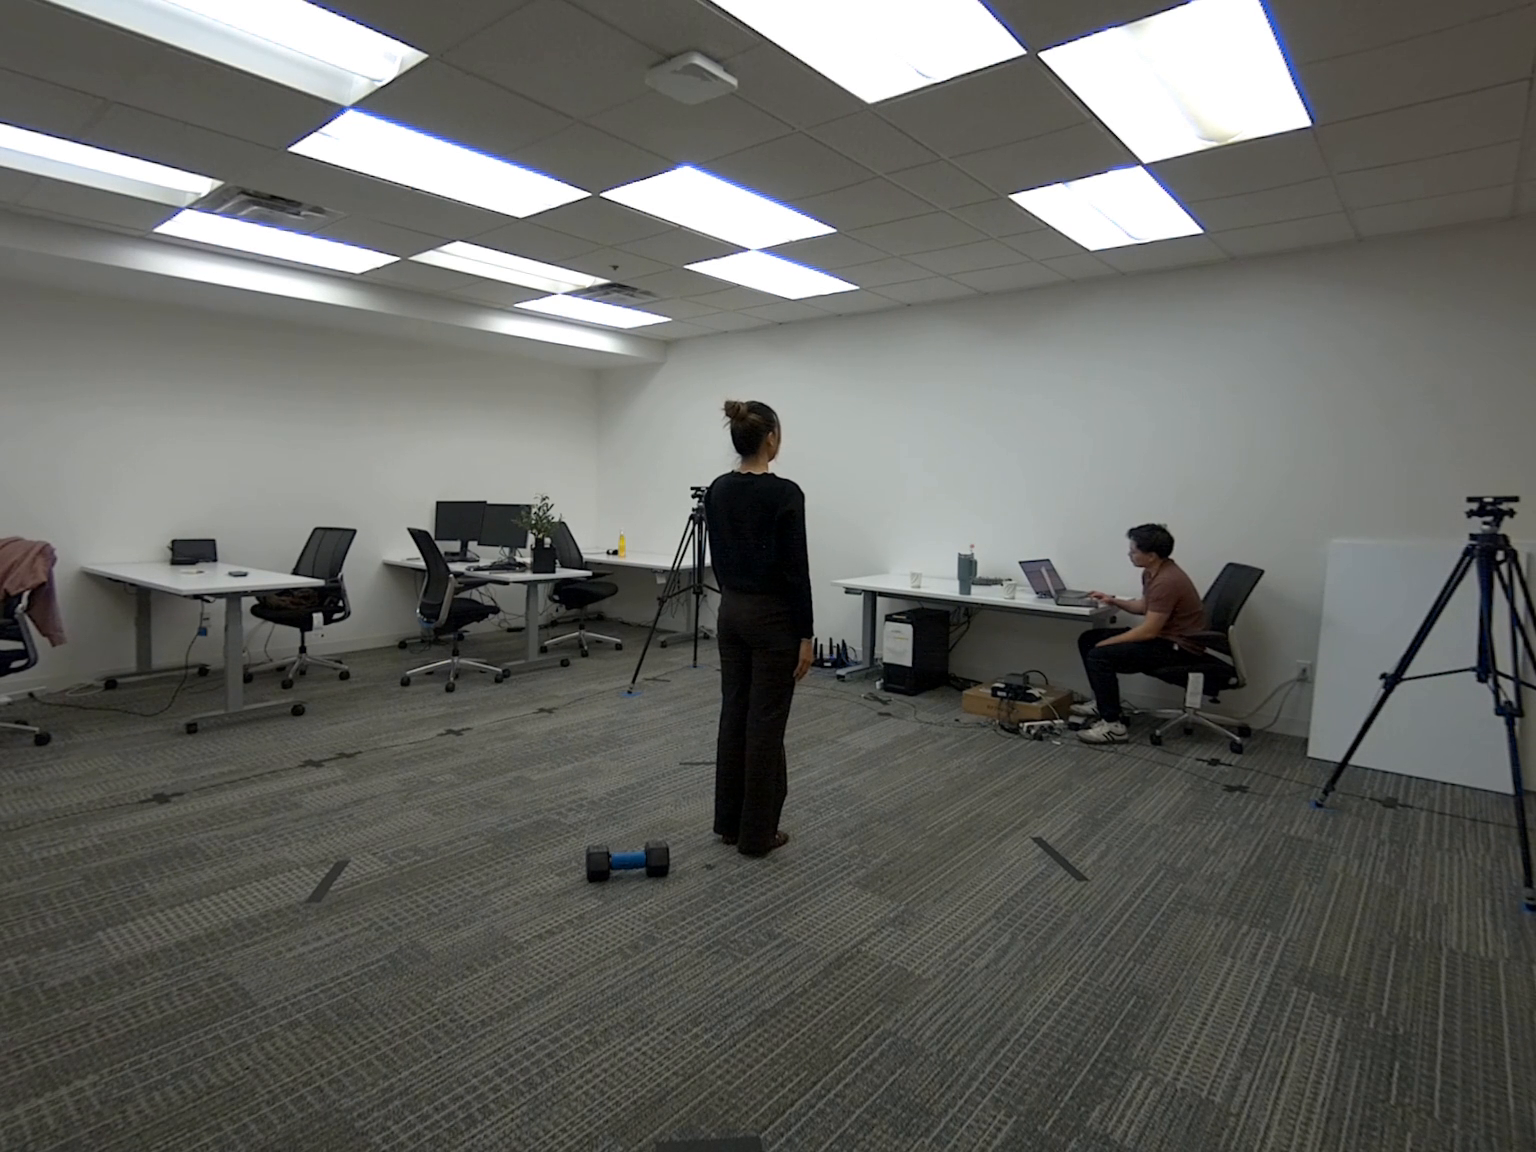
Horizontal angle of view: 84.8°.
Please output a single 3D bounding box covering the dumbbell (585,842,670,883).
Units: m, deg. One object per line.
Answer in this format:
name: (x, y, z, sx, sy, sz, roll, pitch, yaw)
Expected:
dumbbell: (-0.512, 1.017, 3.031, 0.289, 0.120, 0.112, 0, 34, -13)
